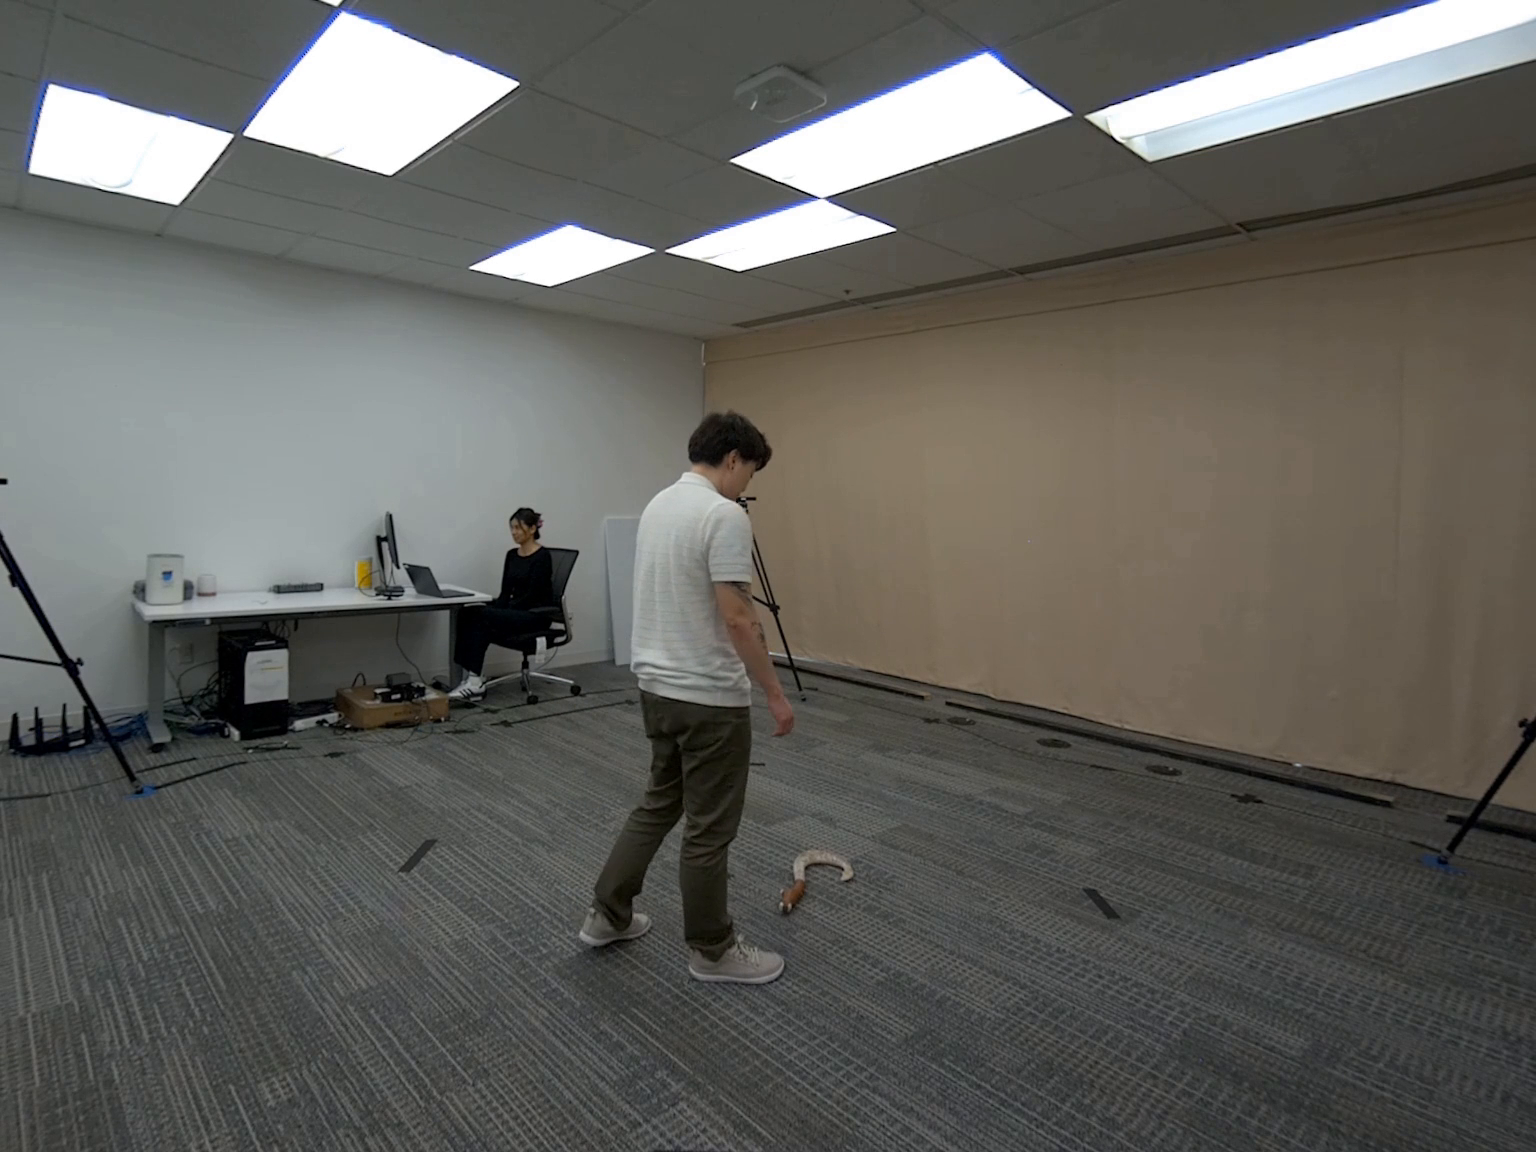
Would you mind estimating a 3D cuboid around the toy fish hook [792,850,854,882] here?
[{"bbox_3d":[0.166,1.096,3.023,0.228,0.048,0.501,1,5,16],"label":"toy fish hook"}]
